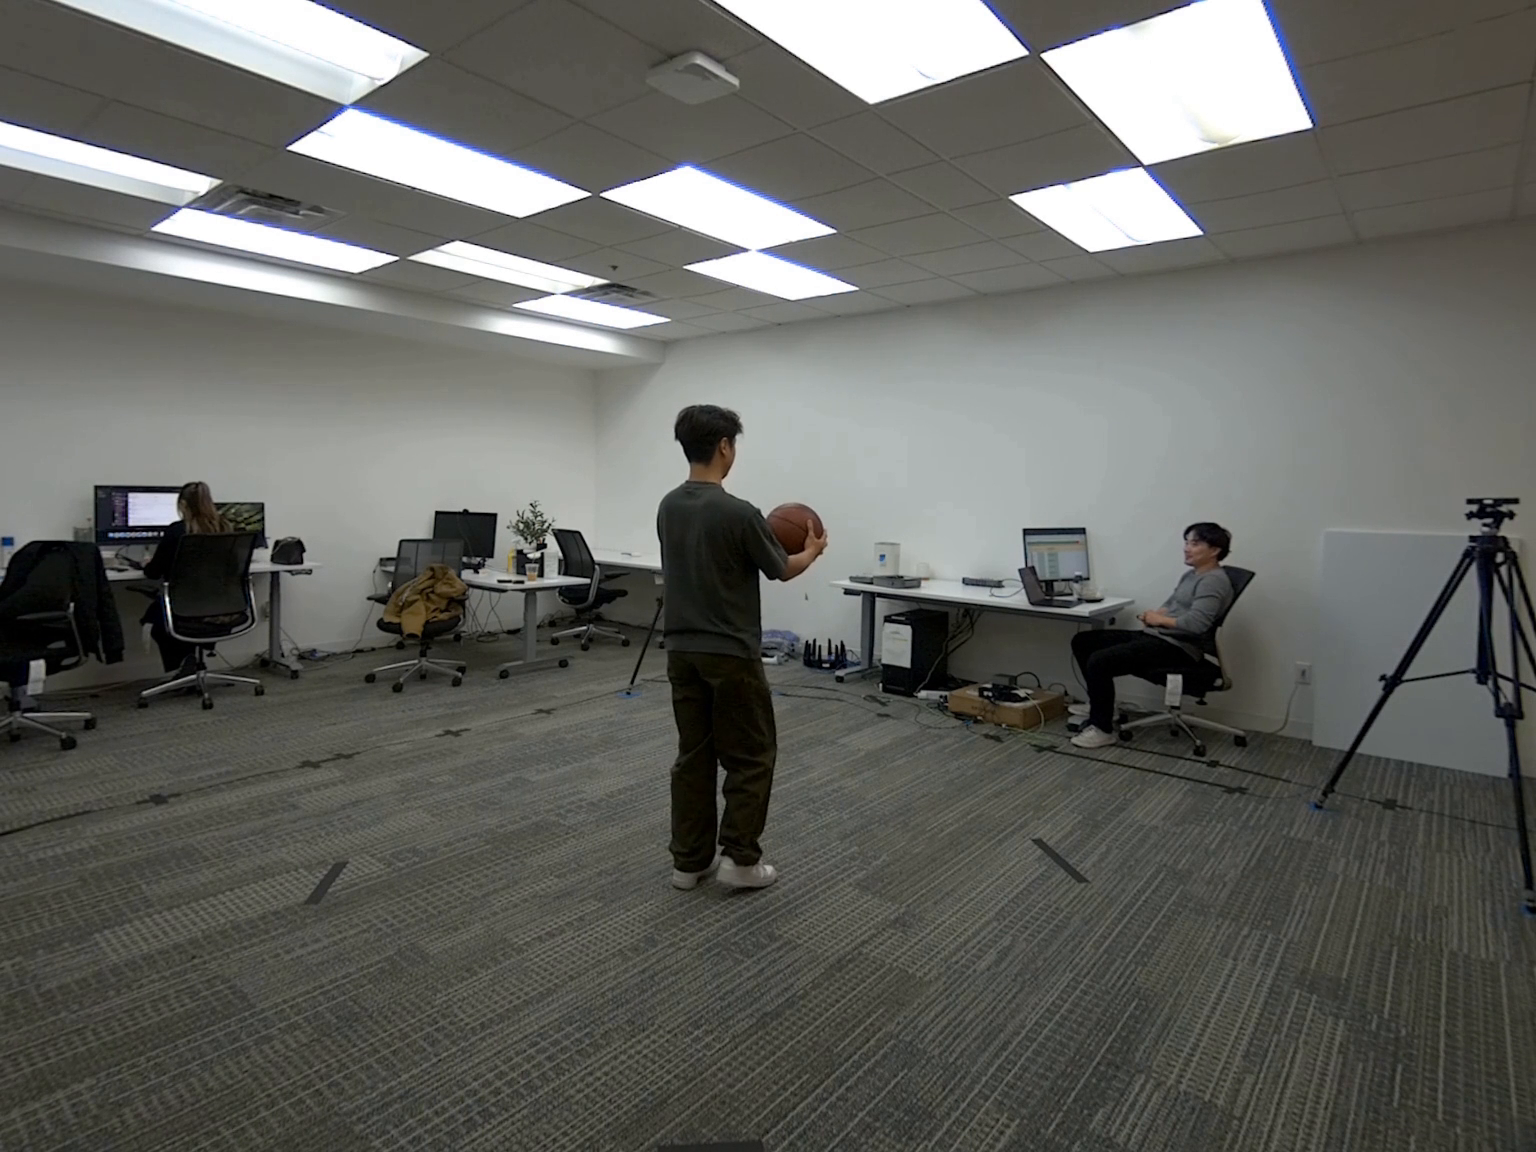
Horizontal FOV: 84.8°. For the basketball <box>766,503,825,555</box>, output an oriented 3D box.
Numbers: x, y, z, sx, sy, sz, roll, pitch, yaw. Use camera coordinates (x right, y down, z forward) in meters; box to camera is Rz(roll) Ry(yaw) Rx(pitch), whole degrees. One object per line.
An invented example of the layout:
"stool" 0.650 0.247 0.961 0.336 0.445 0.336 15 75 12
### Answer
"basketball" 0.086 -0.164 3.279 0.235 0.235 0.237 1 4 -2
